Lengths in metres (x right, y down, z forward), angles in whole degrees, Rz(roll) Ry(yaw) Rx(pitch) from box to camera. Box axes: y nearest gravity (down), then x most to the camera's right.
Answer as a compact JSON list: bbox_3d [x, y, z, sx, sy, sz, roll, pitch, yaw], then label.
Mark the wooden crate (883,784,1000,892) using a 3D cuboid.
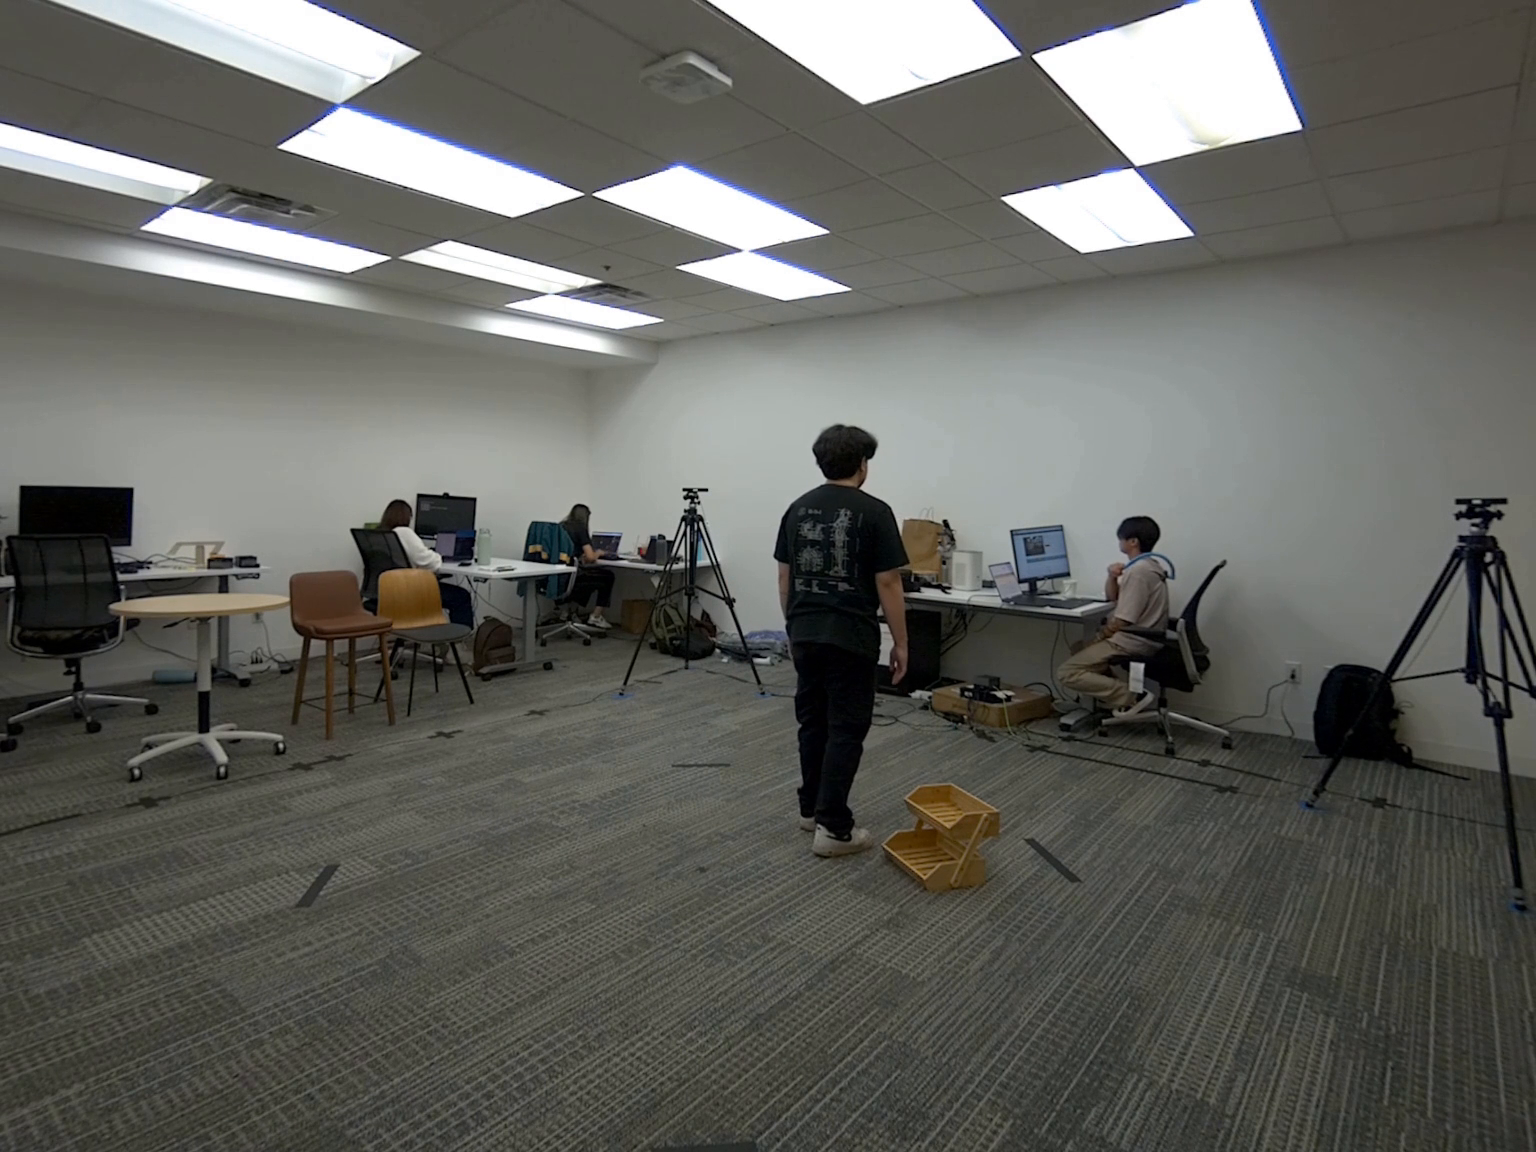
[{"bbox_3d":[0.623,0.948,3.155,0.296,0.272,0.332,0,5,-21],"label":"wooden crate"}]
